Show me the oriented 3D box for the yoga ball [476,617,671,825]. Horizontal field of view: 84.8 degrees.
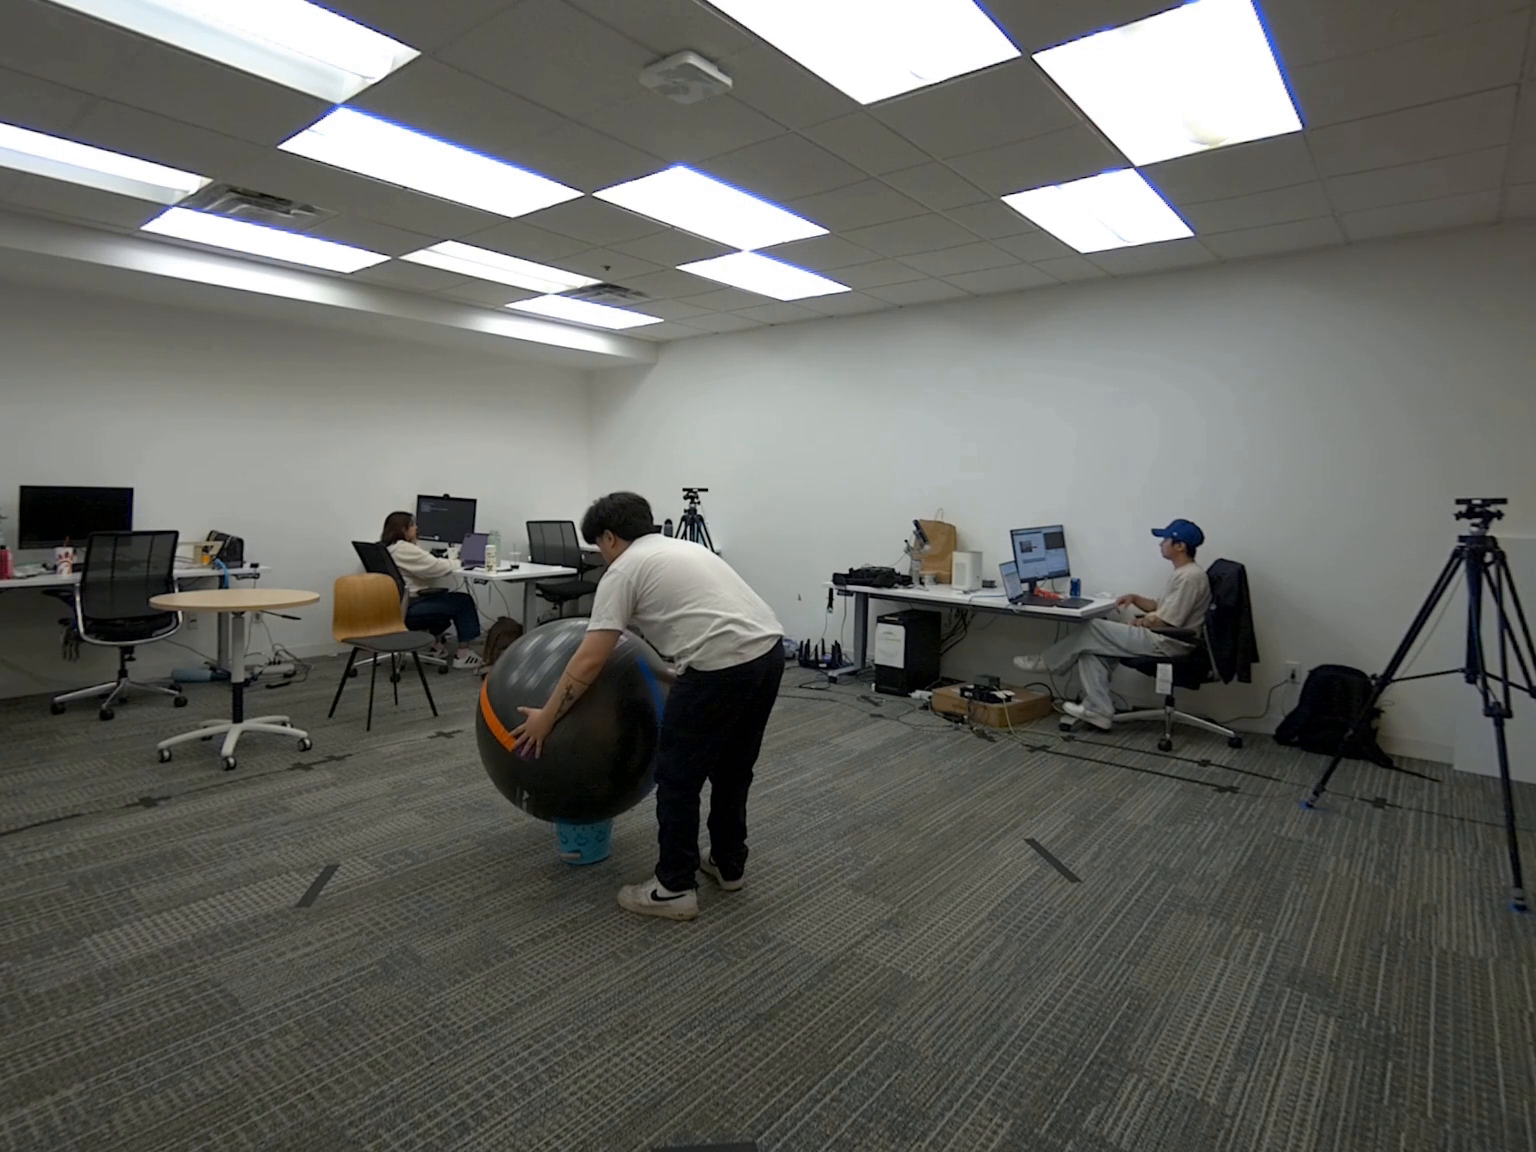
[{"bbox_3d":[-0.719,0.543,3.204,0.757,0.755,0.762,1,4,-2],"label":"yoga ball"}]
